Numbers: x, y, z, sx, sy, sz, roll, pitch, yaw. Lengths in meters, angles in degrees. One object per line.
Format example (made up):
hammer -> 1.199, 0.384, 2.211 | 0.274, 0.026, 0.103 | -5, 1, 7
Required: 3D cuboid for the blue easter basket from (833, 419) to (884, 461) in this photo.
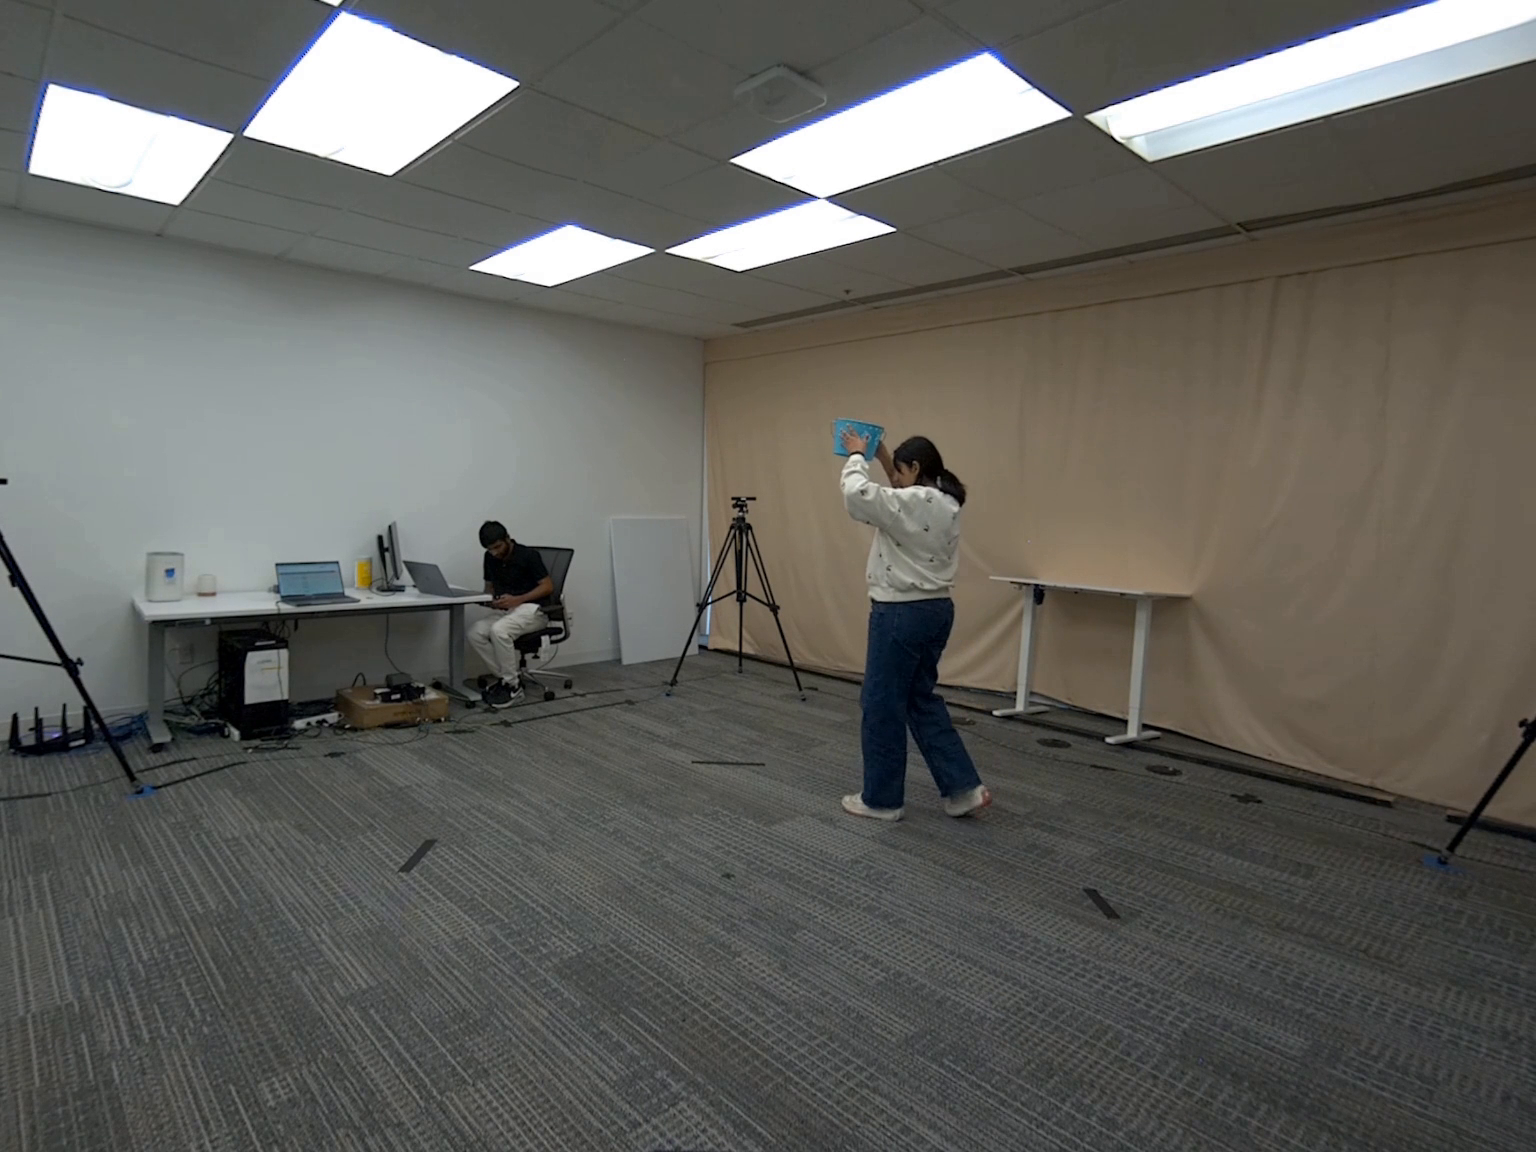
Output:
blue easter basket -> 0.399, -0.618, 3.828 | 0.243, 0.155, 0.244 | 11, 4, -2
